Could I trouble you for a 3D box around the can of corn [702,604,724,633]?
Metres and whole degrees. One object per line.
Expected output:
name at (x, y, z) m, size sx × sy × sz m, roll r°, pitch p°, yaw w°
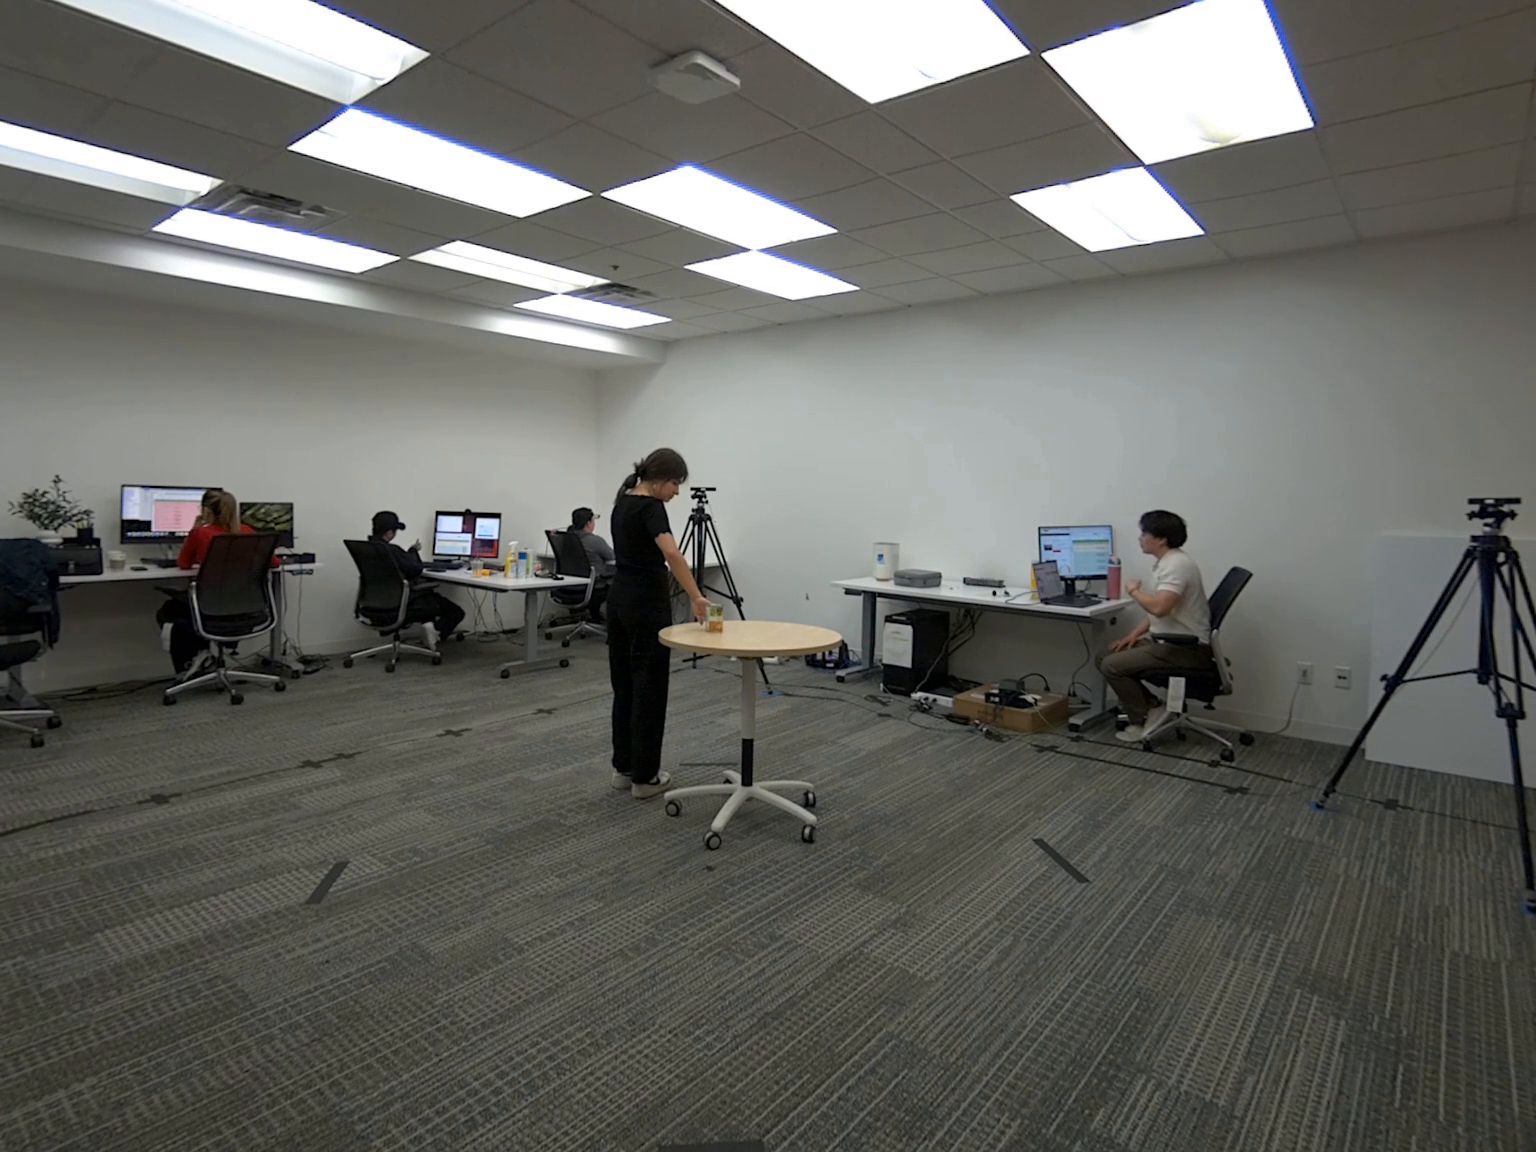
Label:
can of corn at (-0.242, 0.176, 3.629) m, size 0.074 × 0.111 × 0.074 m, roll 1°, pitch 2°, yaw -2°
